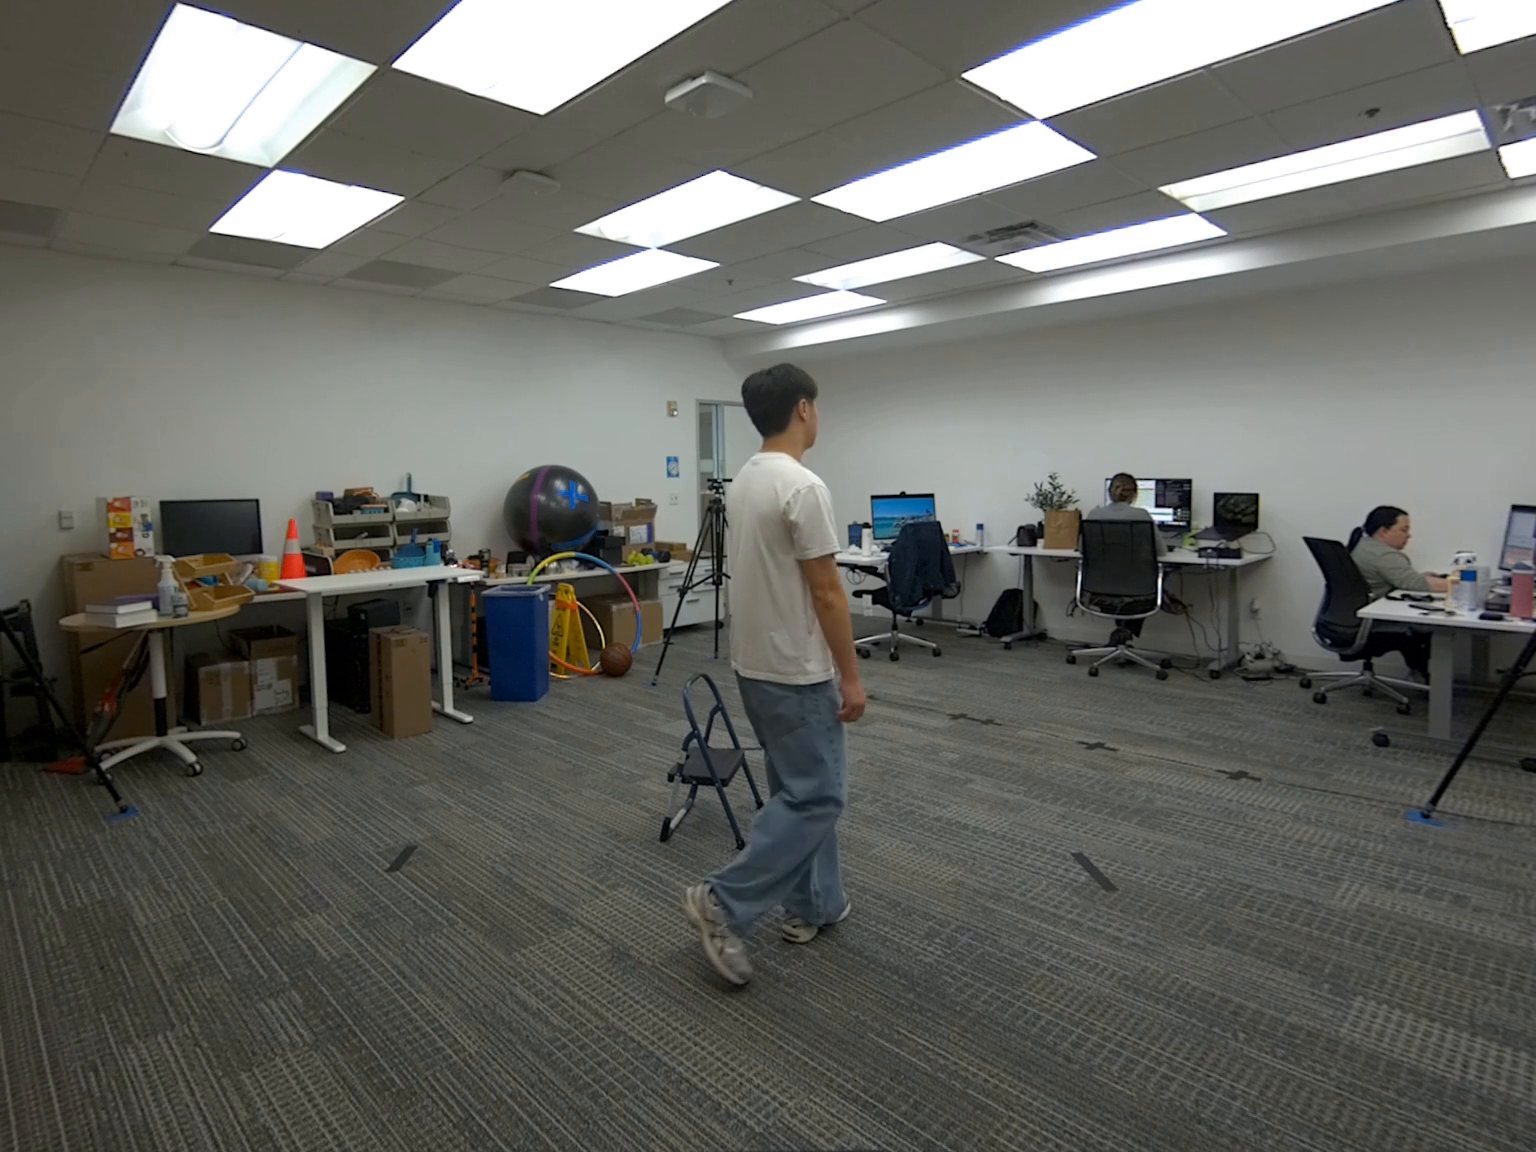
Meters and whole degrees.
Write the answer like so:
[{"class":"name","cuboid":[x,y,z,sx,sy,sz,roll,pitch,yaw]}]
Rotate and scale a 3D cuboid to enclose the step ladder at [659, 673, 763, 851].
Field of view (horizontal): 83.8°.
[{"class":"step ladder","cuboid":[-0.221,0.707,3.446,0.353,0.604,0.427,0,4,11]}]
